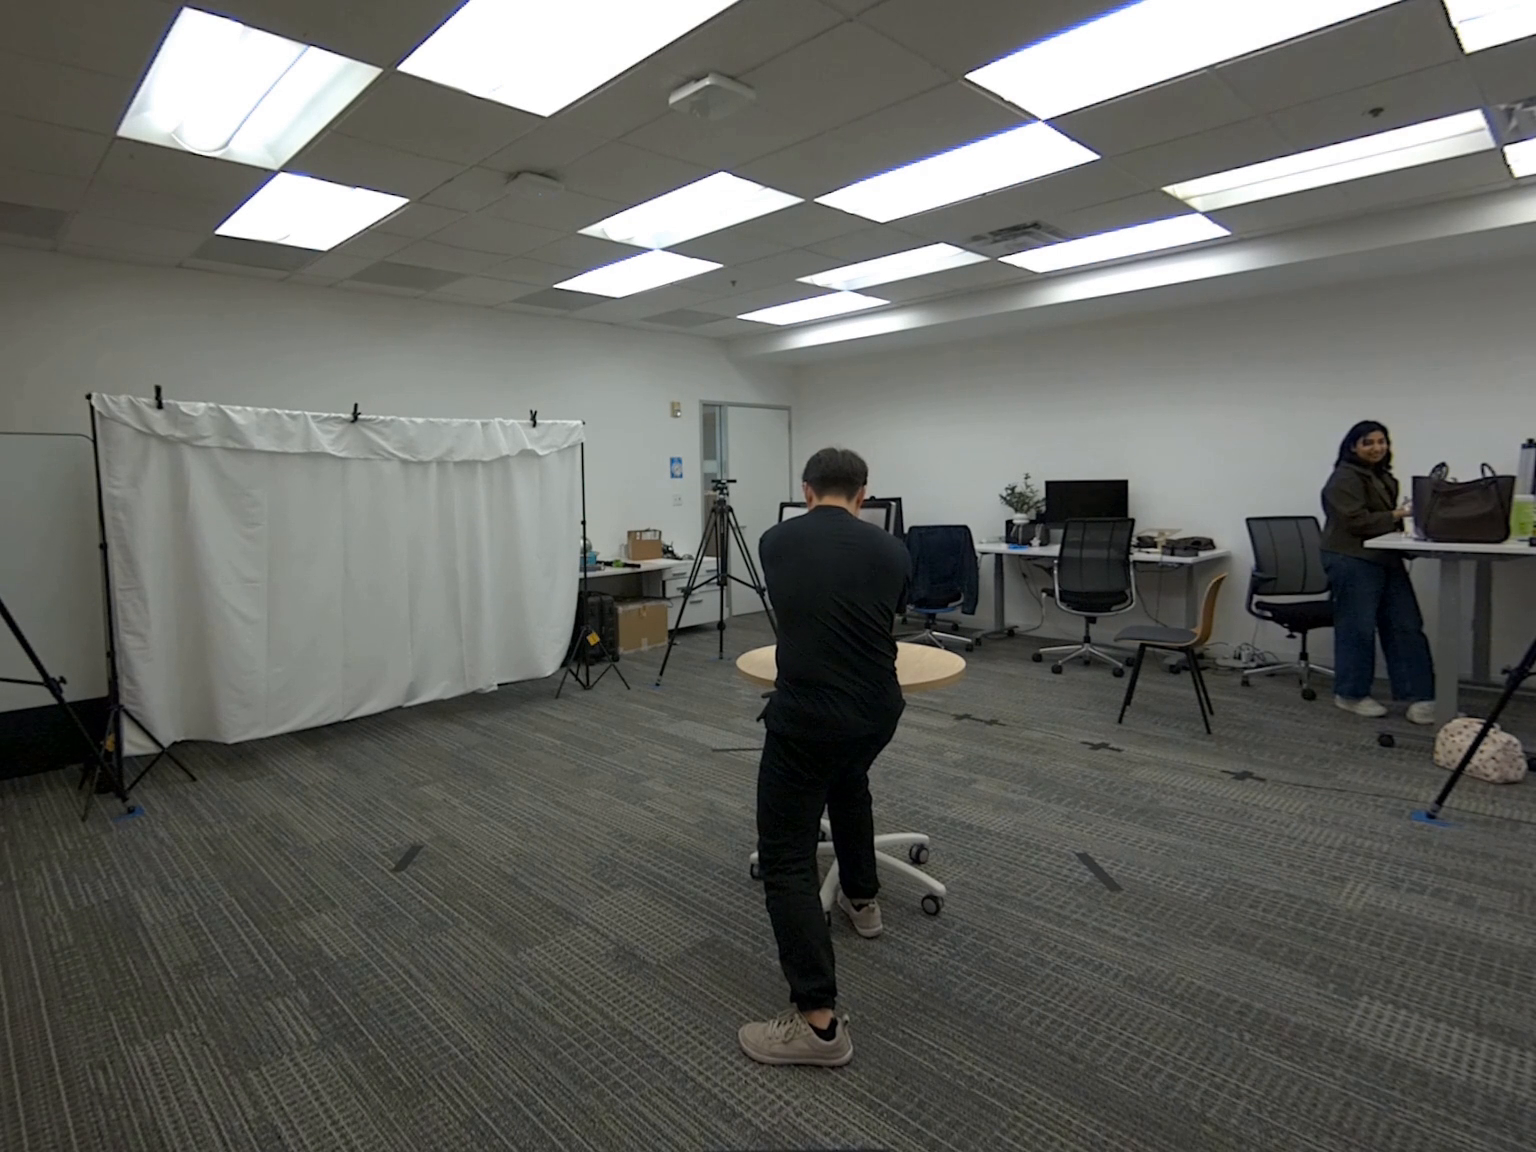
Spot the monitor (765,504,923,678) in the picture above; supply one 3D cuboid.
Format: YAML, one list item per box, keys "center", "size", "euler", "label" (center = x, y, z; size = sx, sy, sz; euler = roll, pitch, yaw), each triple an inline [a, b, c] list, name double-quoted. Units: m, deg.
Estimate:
- center: [0.239, 0.029, 2.859]
  size: [0.182, 0.520, 0.555]
  euler: [-5, 6, -36]
  label: "monitor"
